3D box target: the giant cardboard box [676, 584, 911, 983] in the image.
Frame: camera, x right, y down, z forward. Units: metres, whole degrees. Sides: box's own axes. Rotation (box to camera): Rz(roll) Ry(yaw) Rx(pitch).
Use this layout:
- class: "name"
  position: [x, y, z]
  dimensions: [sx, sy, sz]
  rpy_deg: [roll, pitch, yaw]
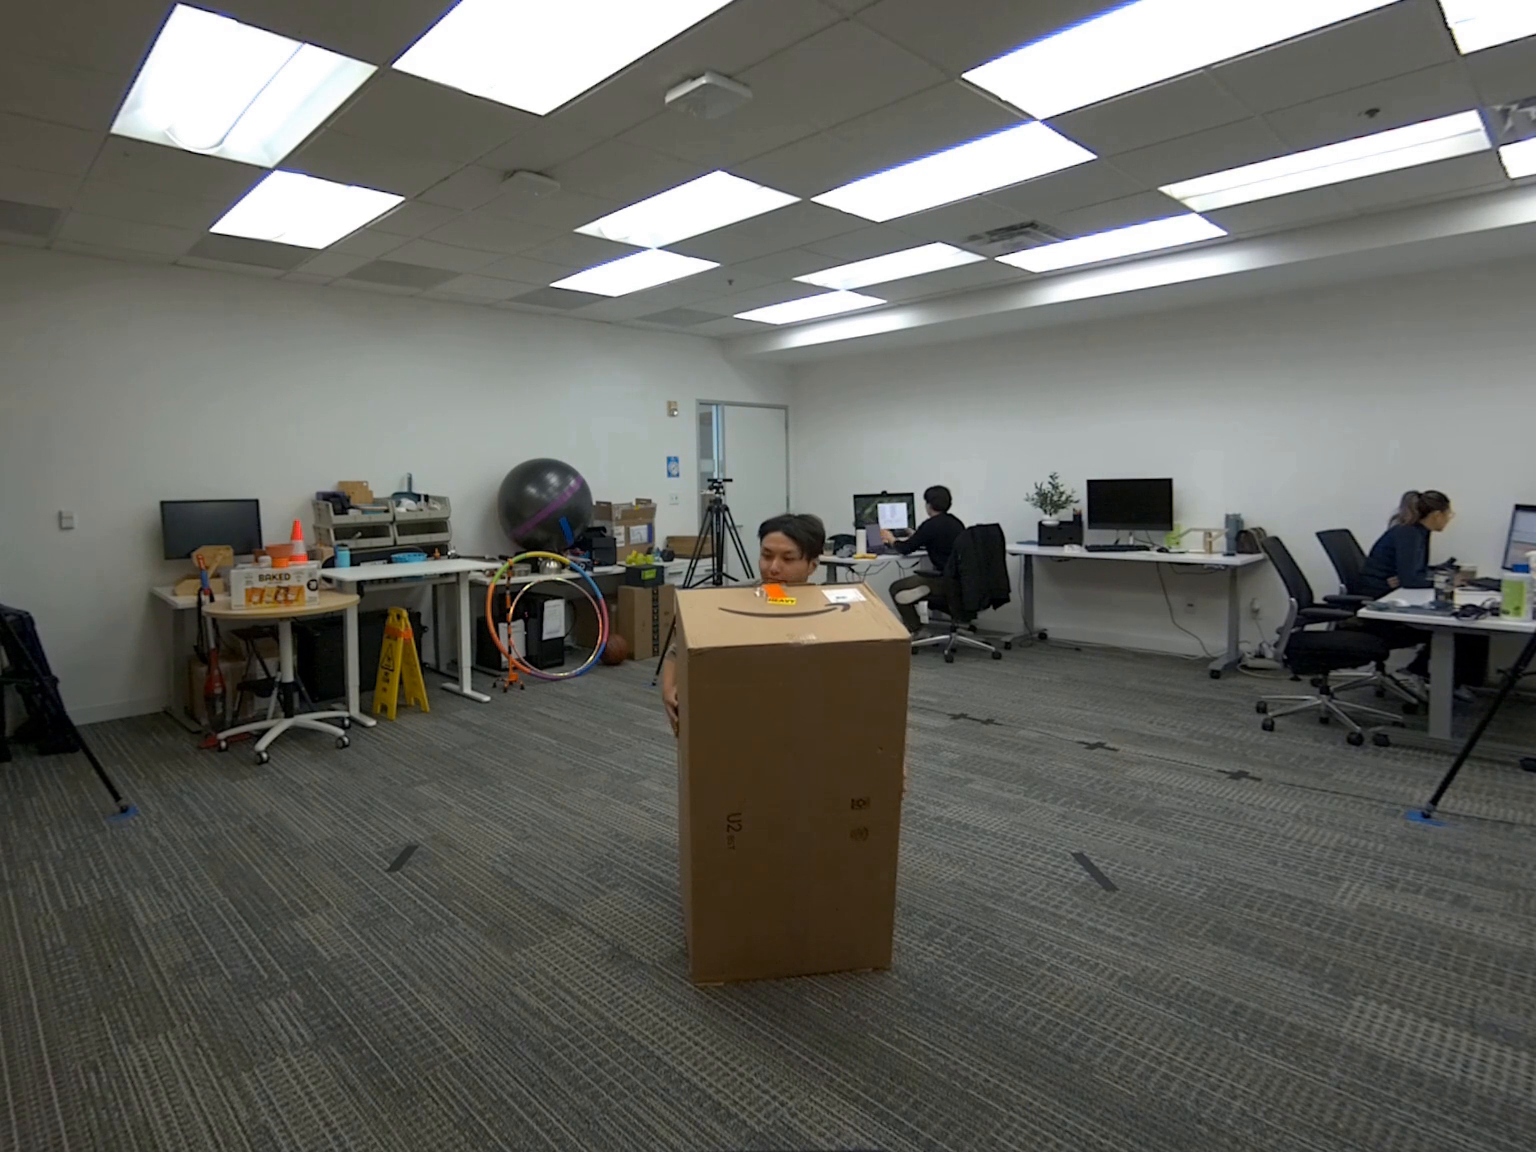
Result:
- class: "giant cardboard box"
  position: [0.040, 0.581, 2.440]
  dimensions: [0.574, 1.011, 0.435]
  rpy_deg: [-1, 16, -7]
